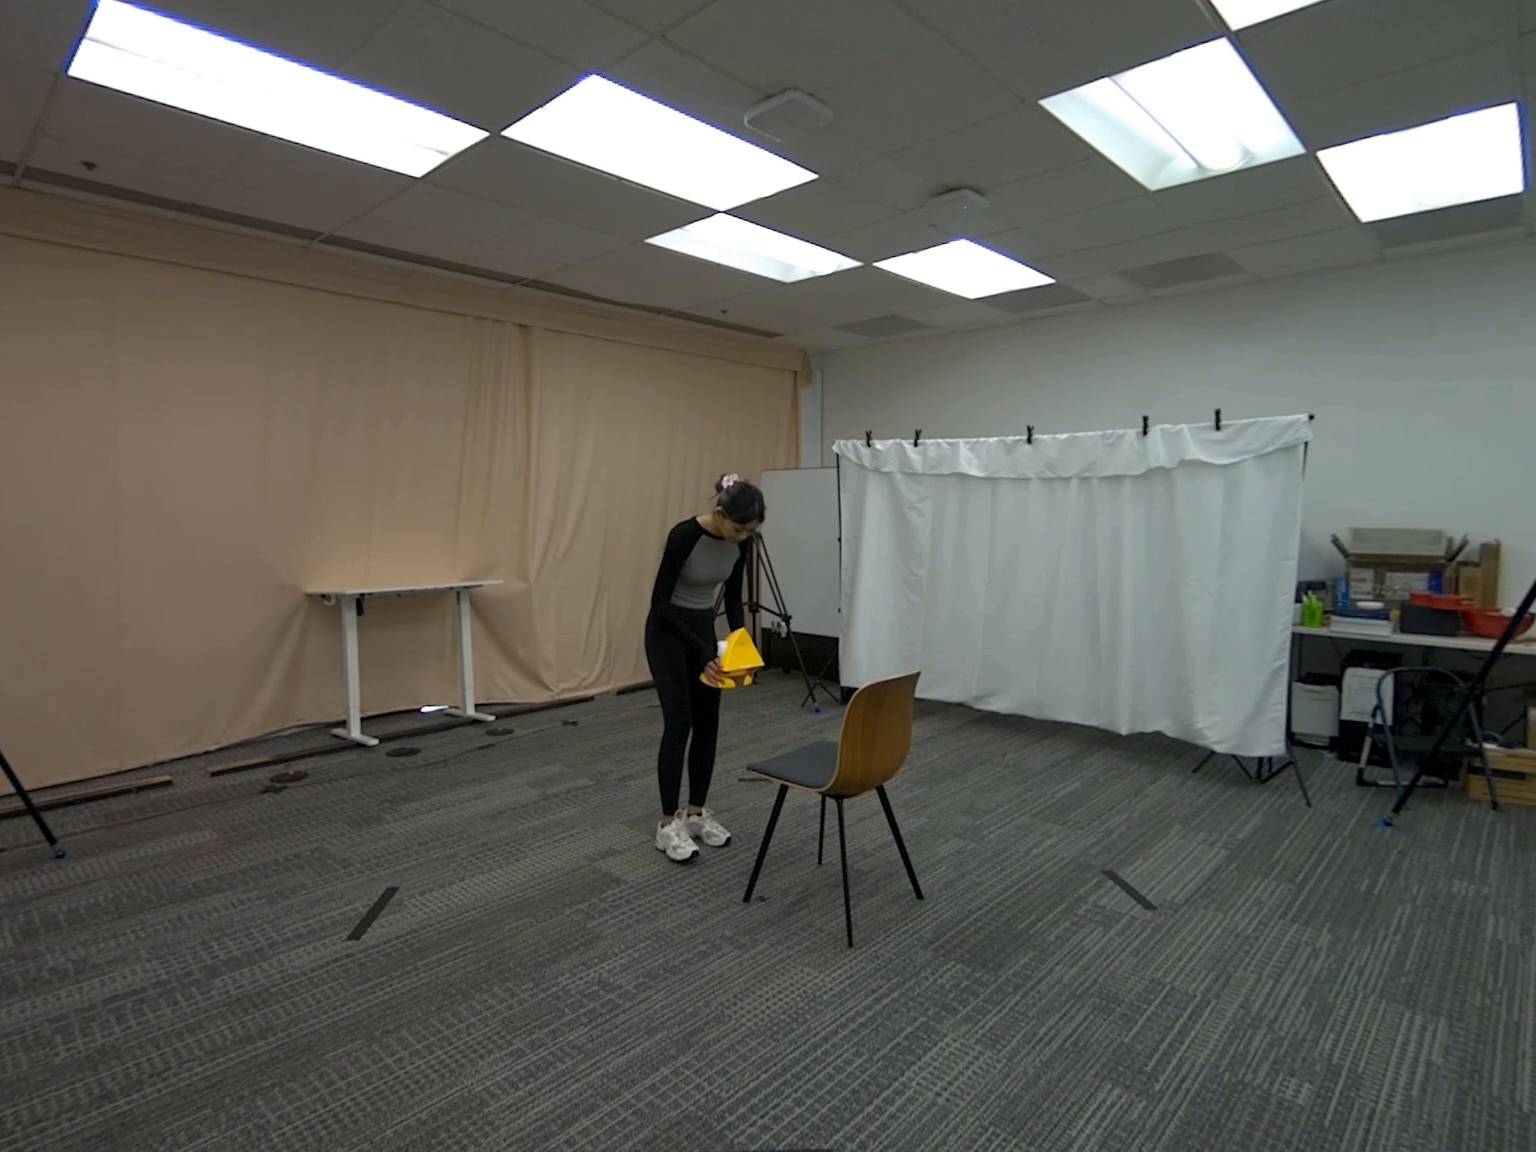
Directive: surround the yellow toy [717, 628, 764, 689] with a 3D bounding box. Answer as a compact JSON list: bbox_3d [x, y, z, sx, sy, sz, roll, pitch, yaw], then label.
[{"bbox_3d":[-0.145,0.304,3.301,0.200,0.230,0.198,10,8,44],"label":"yellow toy"}]
